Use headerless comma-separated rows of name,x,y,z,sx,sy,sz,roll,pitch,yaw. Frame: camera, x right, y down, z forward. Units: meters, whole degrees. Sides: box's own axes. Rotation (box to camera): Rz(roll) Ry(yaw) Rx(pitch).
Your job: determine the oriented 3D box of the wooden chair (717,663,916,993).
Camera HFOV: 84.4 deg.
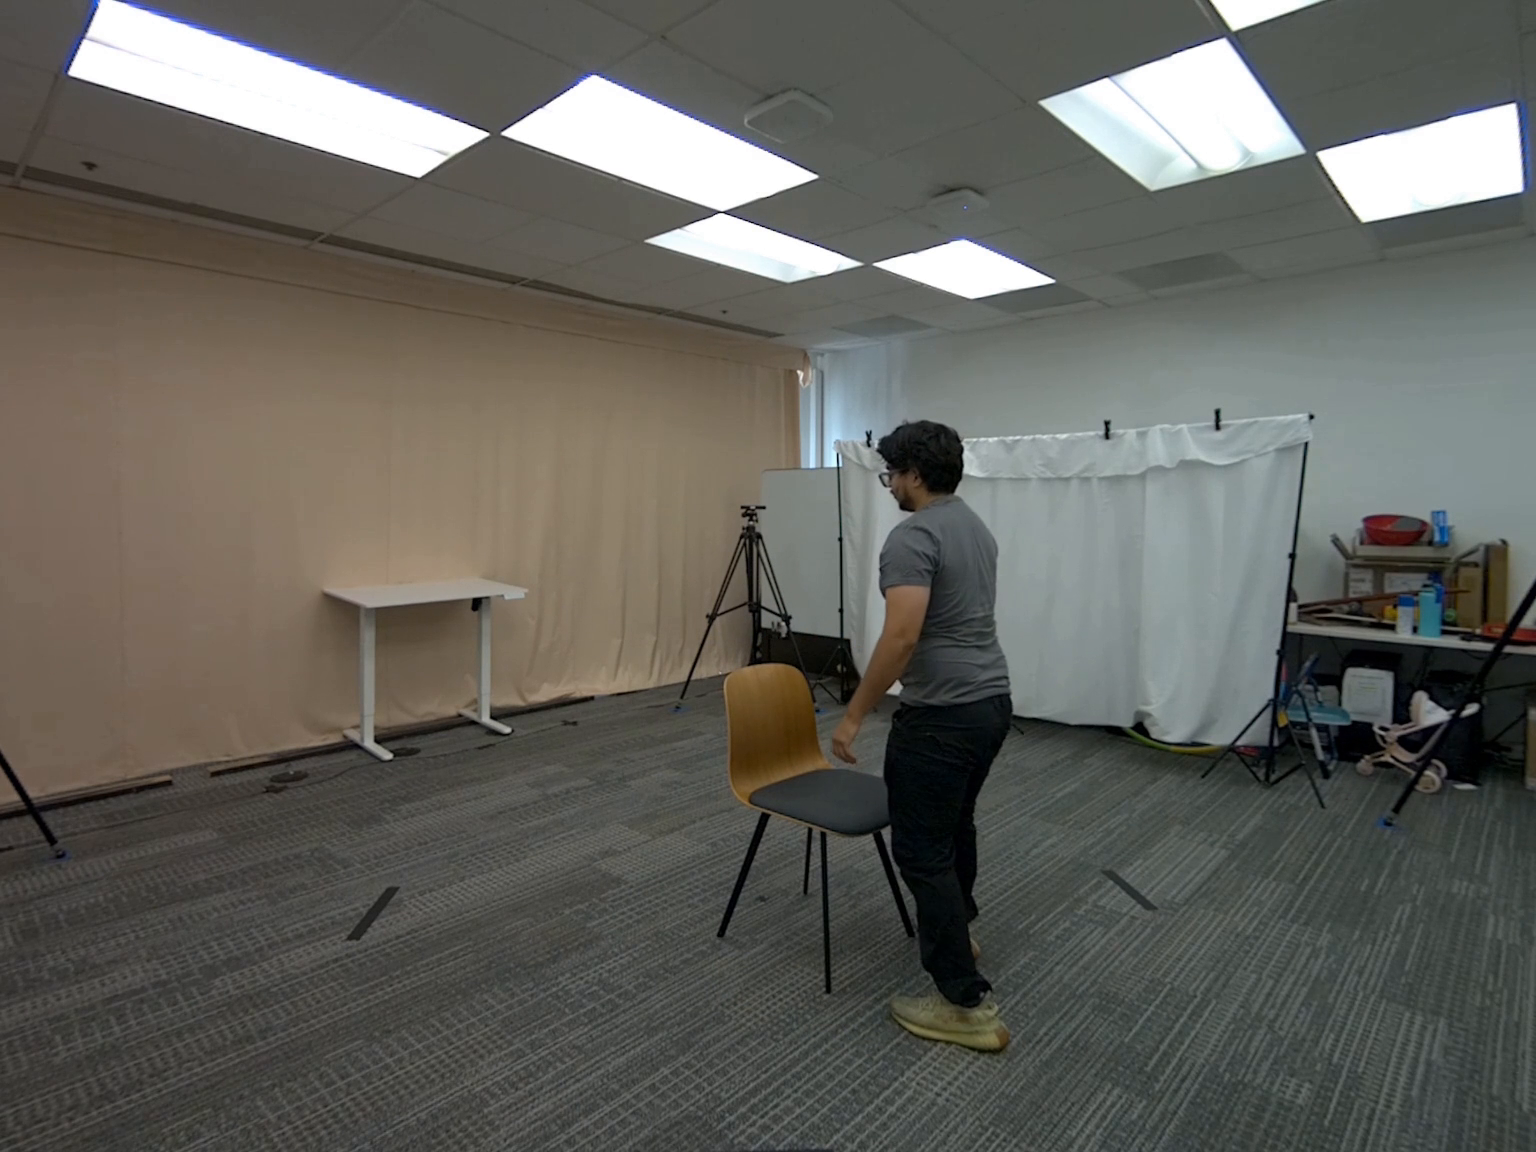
wooden chair,0.161,0.744,2.682,0.539,0.877,0.463,-3,1,43
